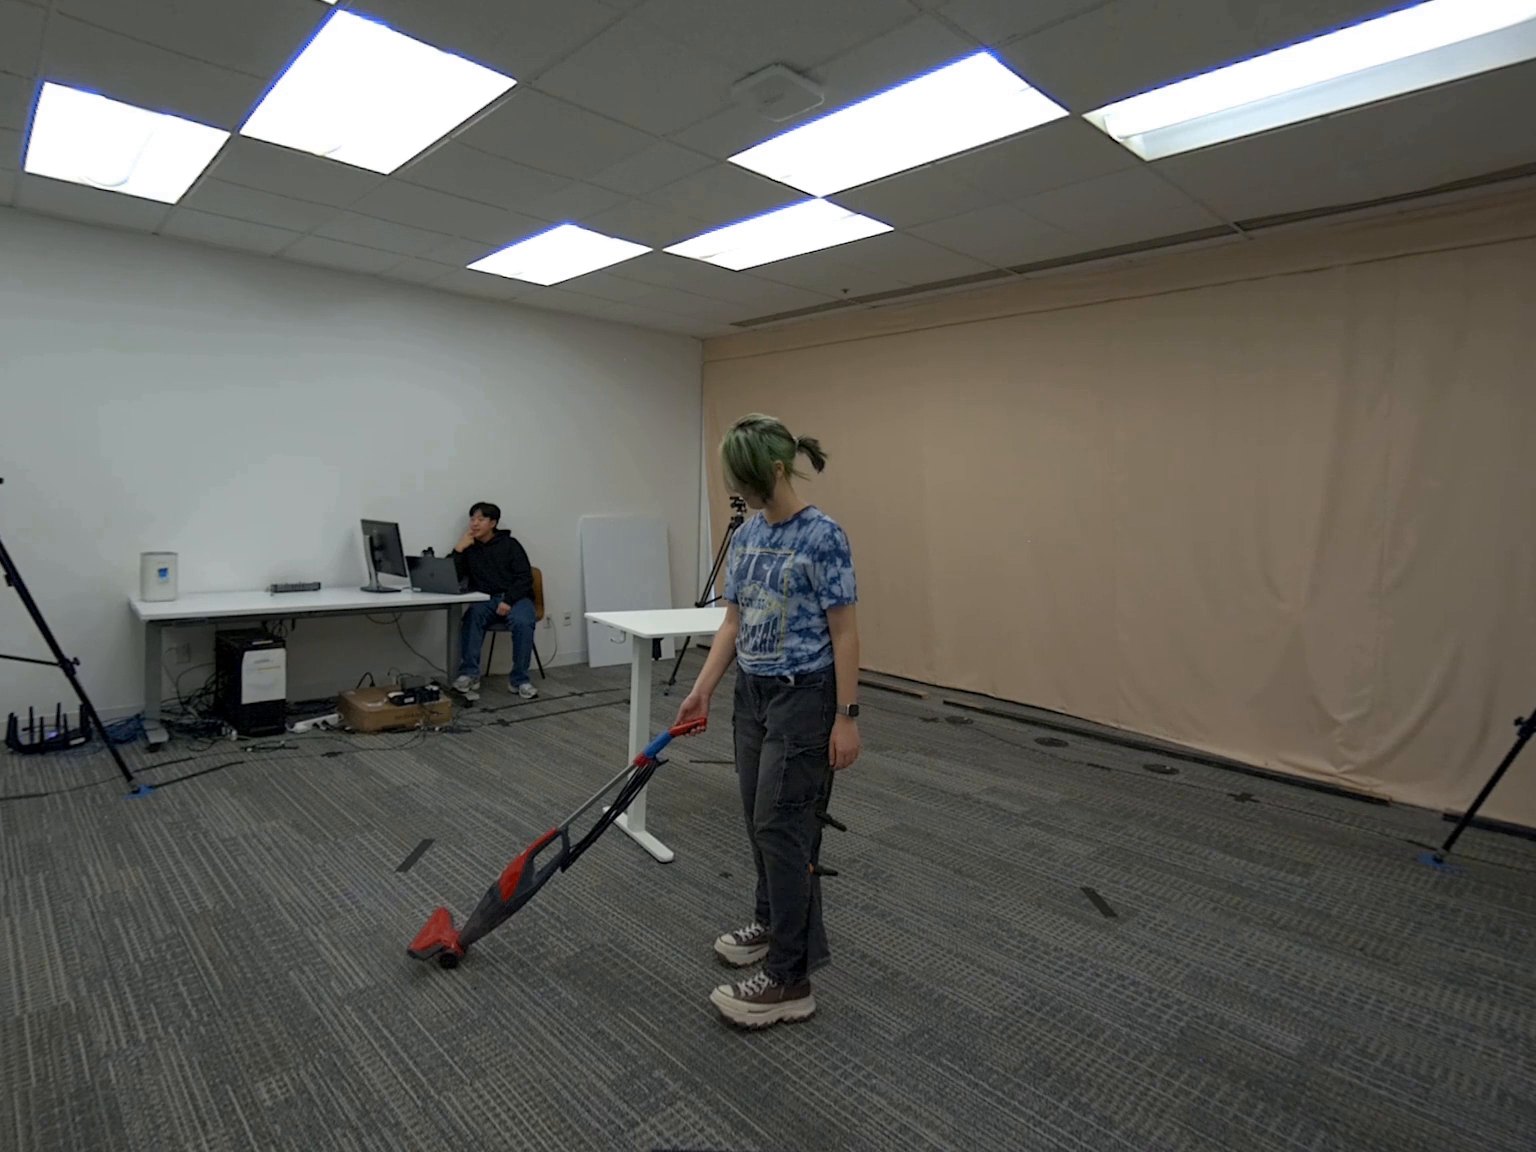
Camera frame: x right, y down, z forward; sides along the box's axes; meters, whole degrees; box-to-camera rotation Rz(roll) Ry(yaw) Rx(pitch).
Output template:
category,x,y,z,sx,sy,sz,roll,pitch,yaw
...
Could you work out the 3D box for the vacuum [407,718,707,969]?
category,x,y,z,sx,sy,sz,roll,pitch,yaw
vacuum,-0.585,0.773,2.481,1.050,0.143,0.253,-39,5,4
